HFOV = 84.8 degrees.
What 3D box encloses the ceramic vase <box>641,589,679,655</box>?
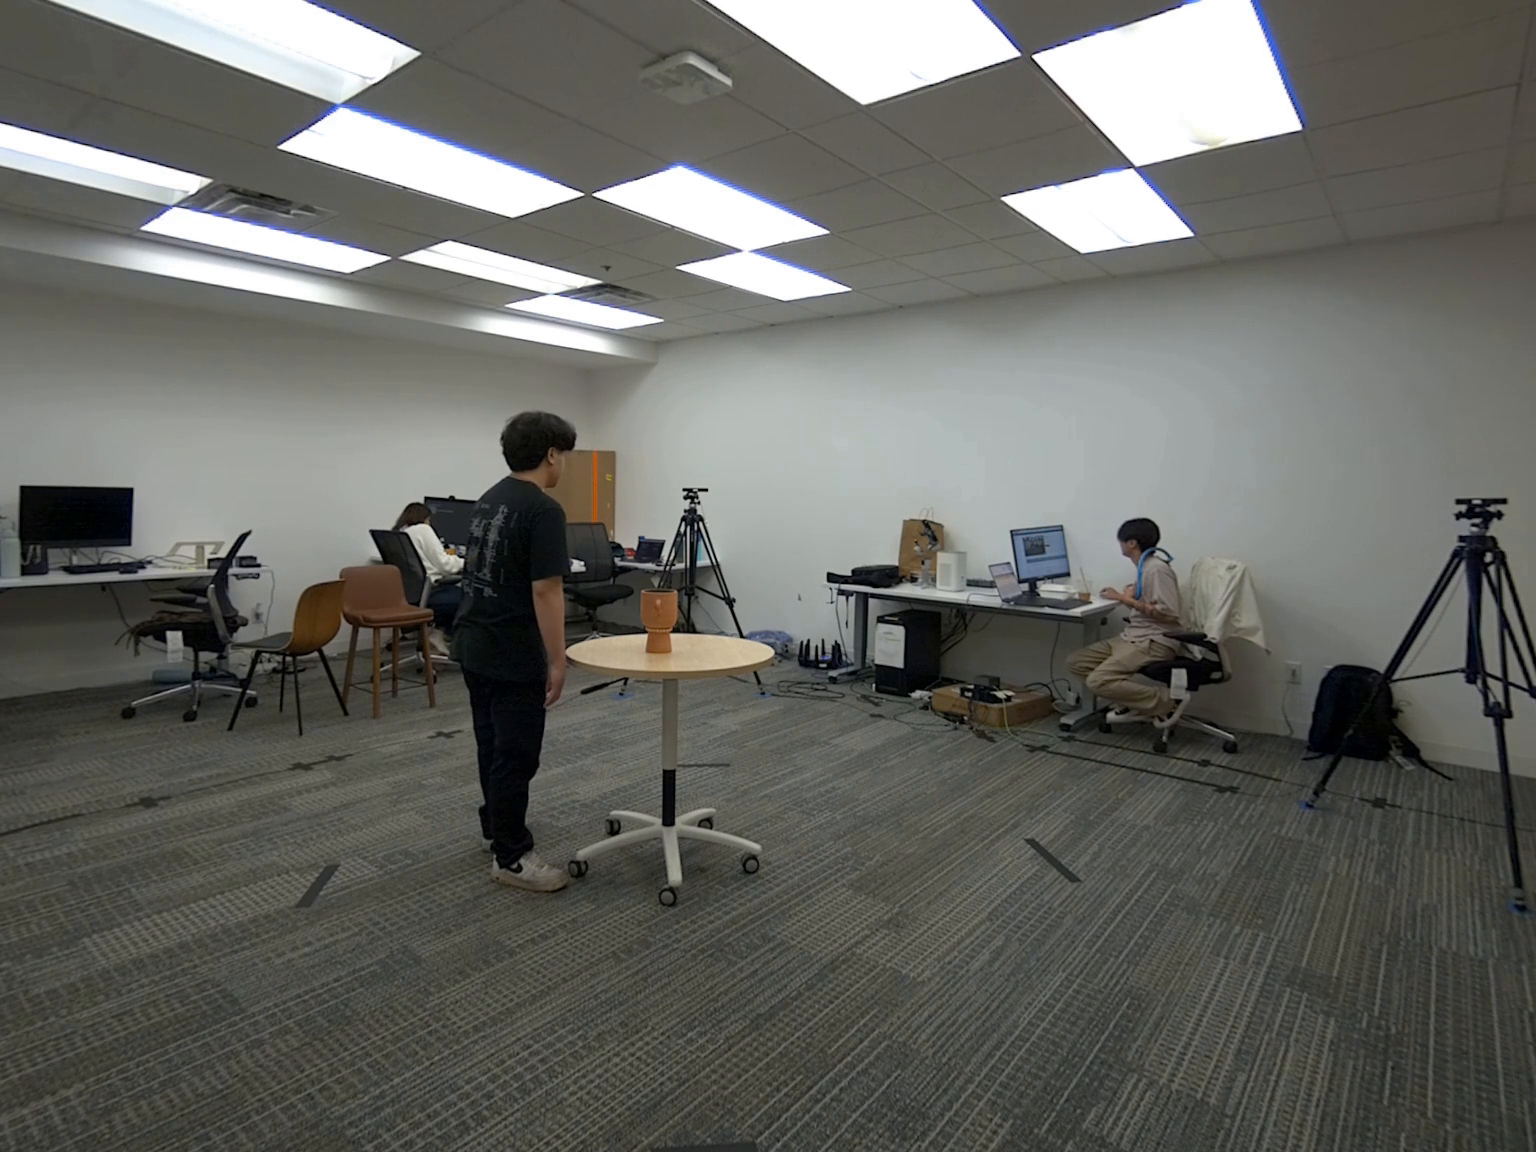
[{"bbox_3d":[-0.416,0.165,3.110,0.139,0.219,0.154,3,3,34],"label":"ceramic vase"}]
